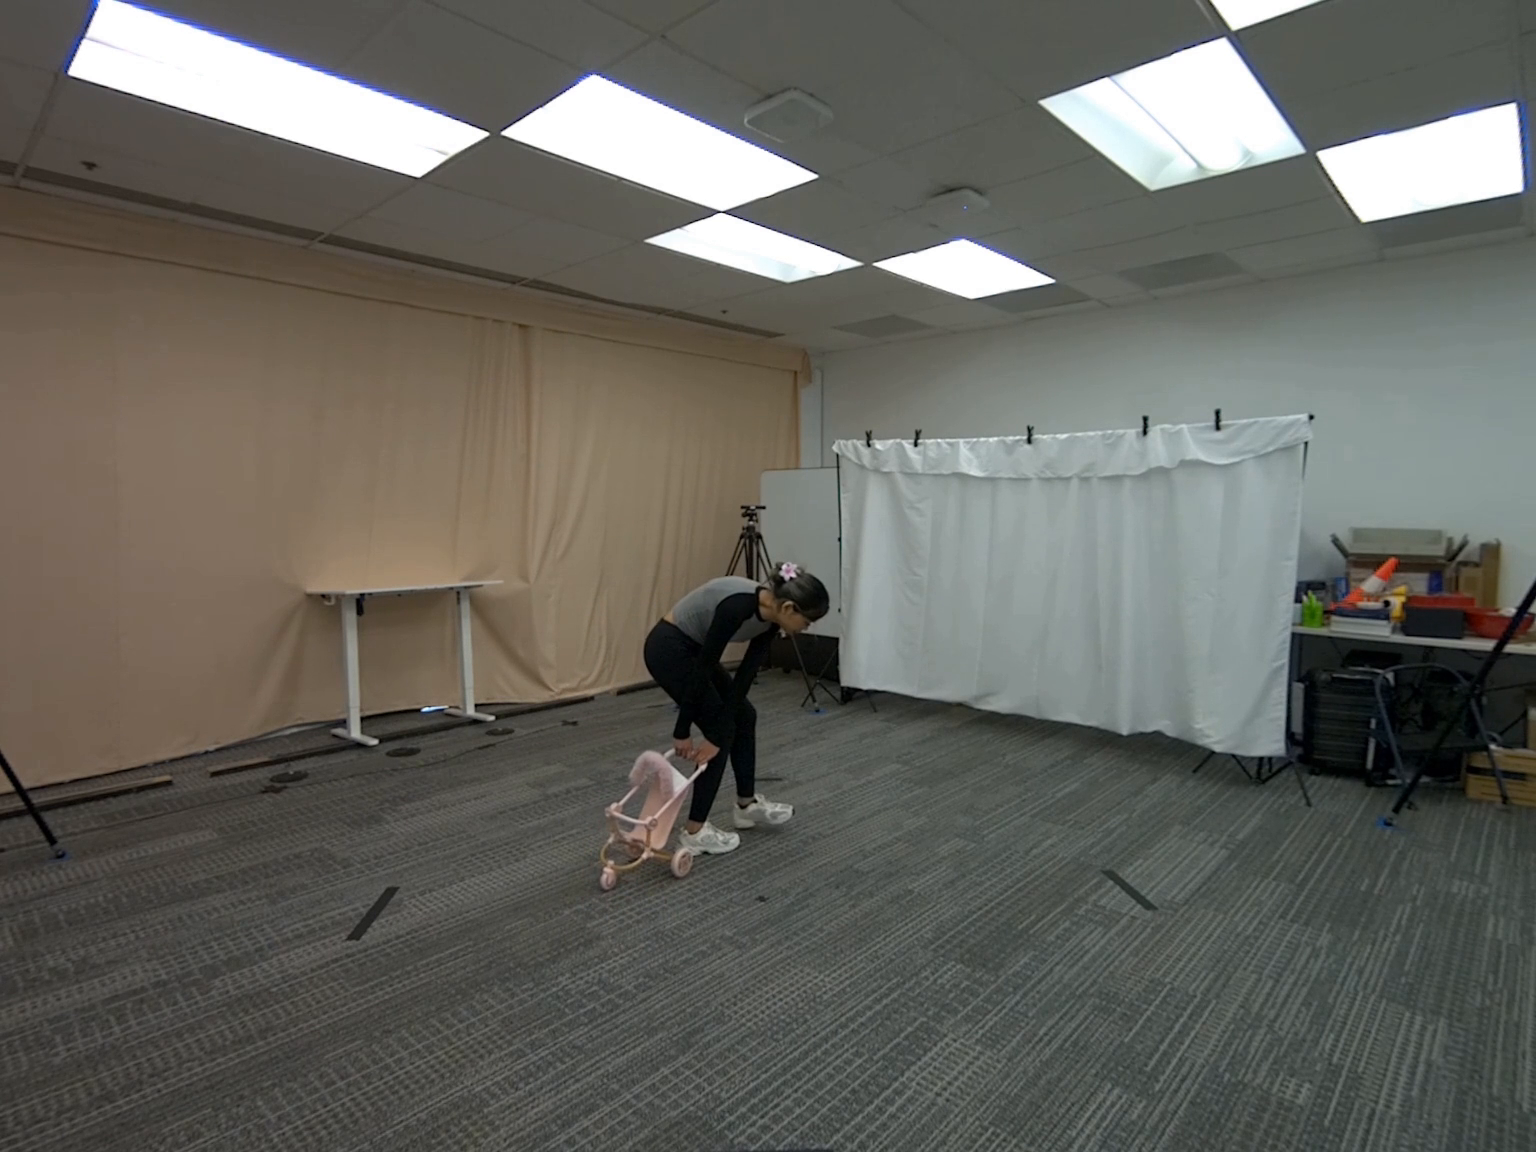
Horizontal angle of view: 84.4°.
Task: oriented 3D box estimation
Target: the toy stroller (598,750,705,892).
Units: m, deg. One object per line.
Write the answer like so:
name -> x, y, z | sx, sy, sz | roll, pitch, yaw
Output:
toy stroller -> -0.453, 0.903, 3.189 | 0.291, 0.536, 0.329 | 5, -11, 44
